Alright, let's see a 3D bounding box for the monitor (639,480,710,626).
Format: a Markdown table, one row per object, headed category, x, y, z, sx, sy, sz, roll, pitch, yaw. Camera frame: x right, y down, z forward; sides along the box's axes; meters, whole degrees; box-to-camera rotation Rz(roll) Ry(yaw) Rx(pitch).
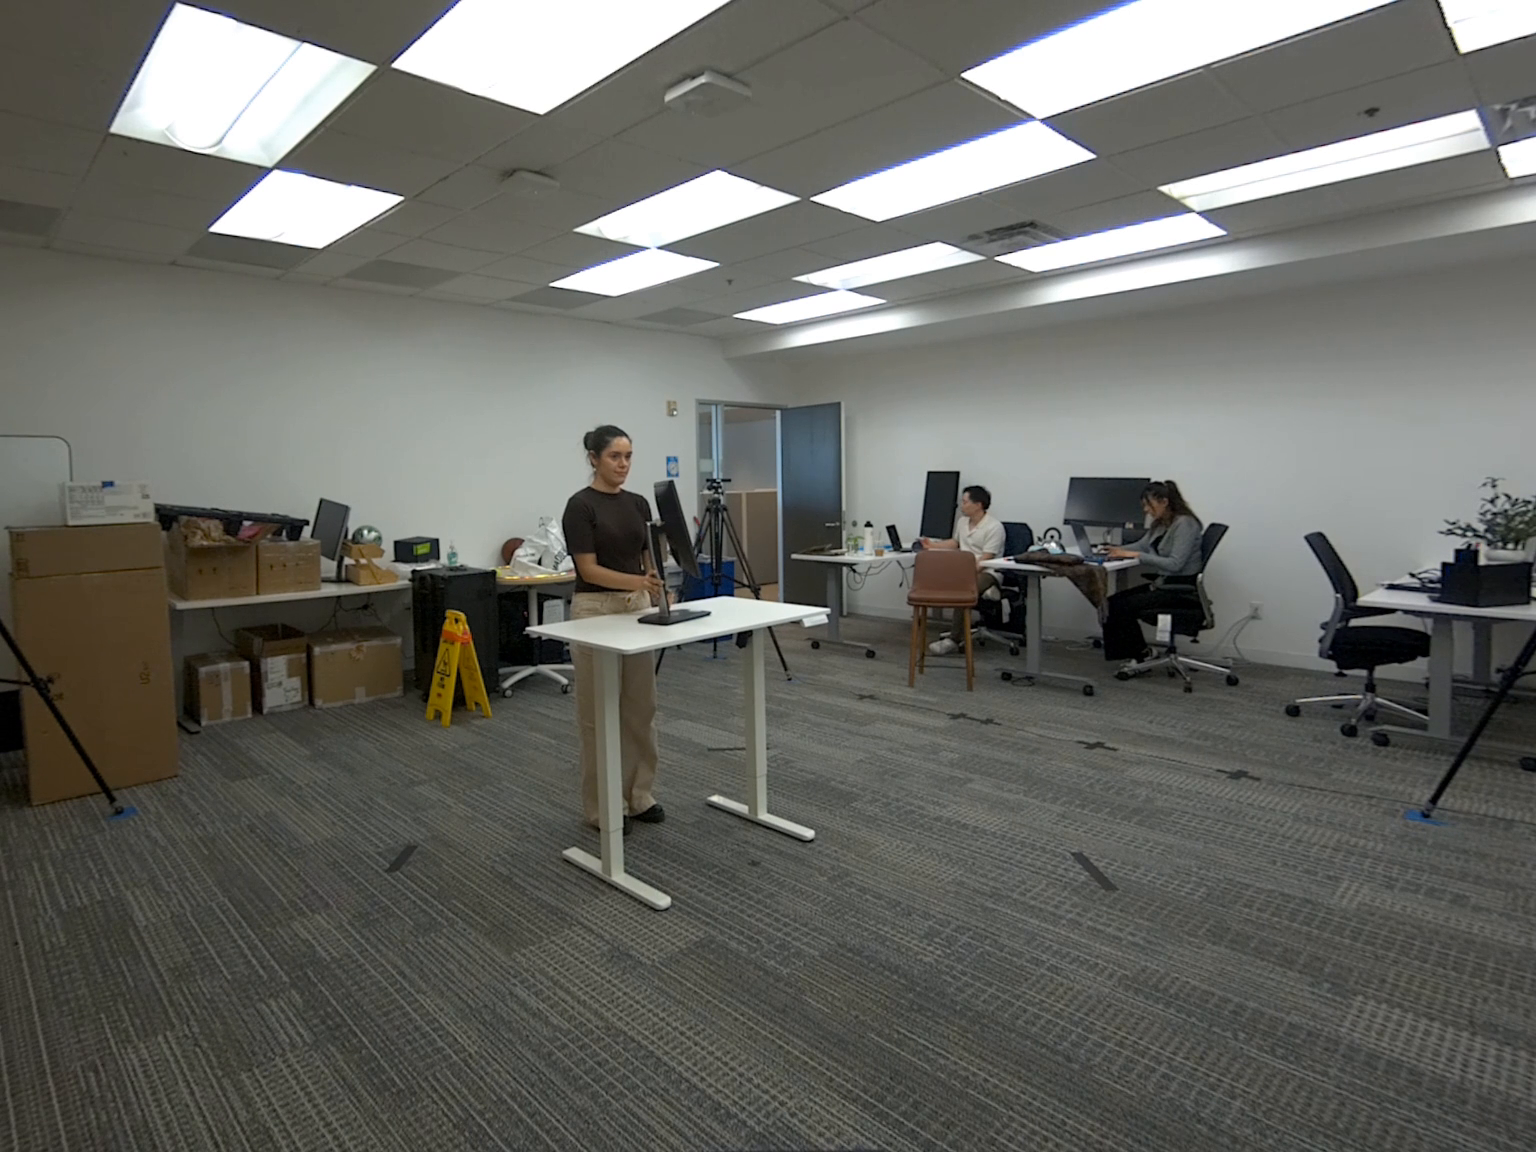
| category | x | y | z | sx | sy | sz | roll | pitch | yaw |
| --- | --- | --- | --- | --- | --- | --- | --- | --- | --- |
| monitor | -0.362 | -0.095 | 3.184 | 0.185 | 0.521 | 0.547 | -5 | 4 | -15 |
